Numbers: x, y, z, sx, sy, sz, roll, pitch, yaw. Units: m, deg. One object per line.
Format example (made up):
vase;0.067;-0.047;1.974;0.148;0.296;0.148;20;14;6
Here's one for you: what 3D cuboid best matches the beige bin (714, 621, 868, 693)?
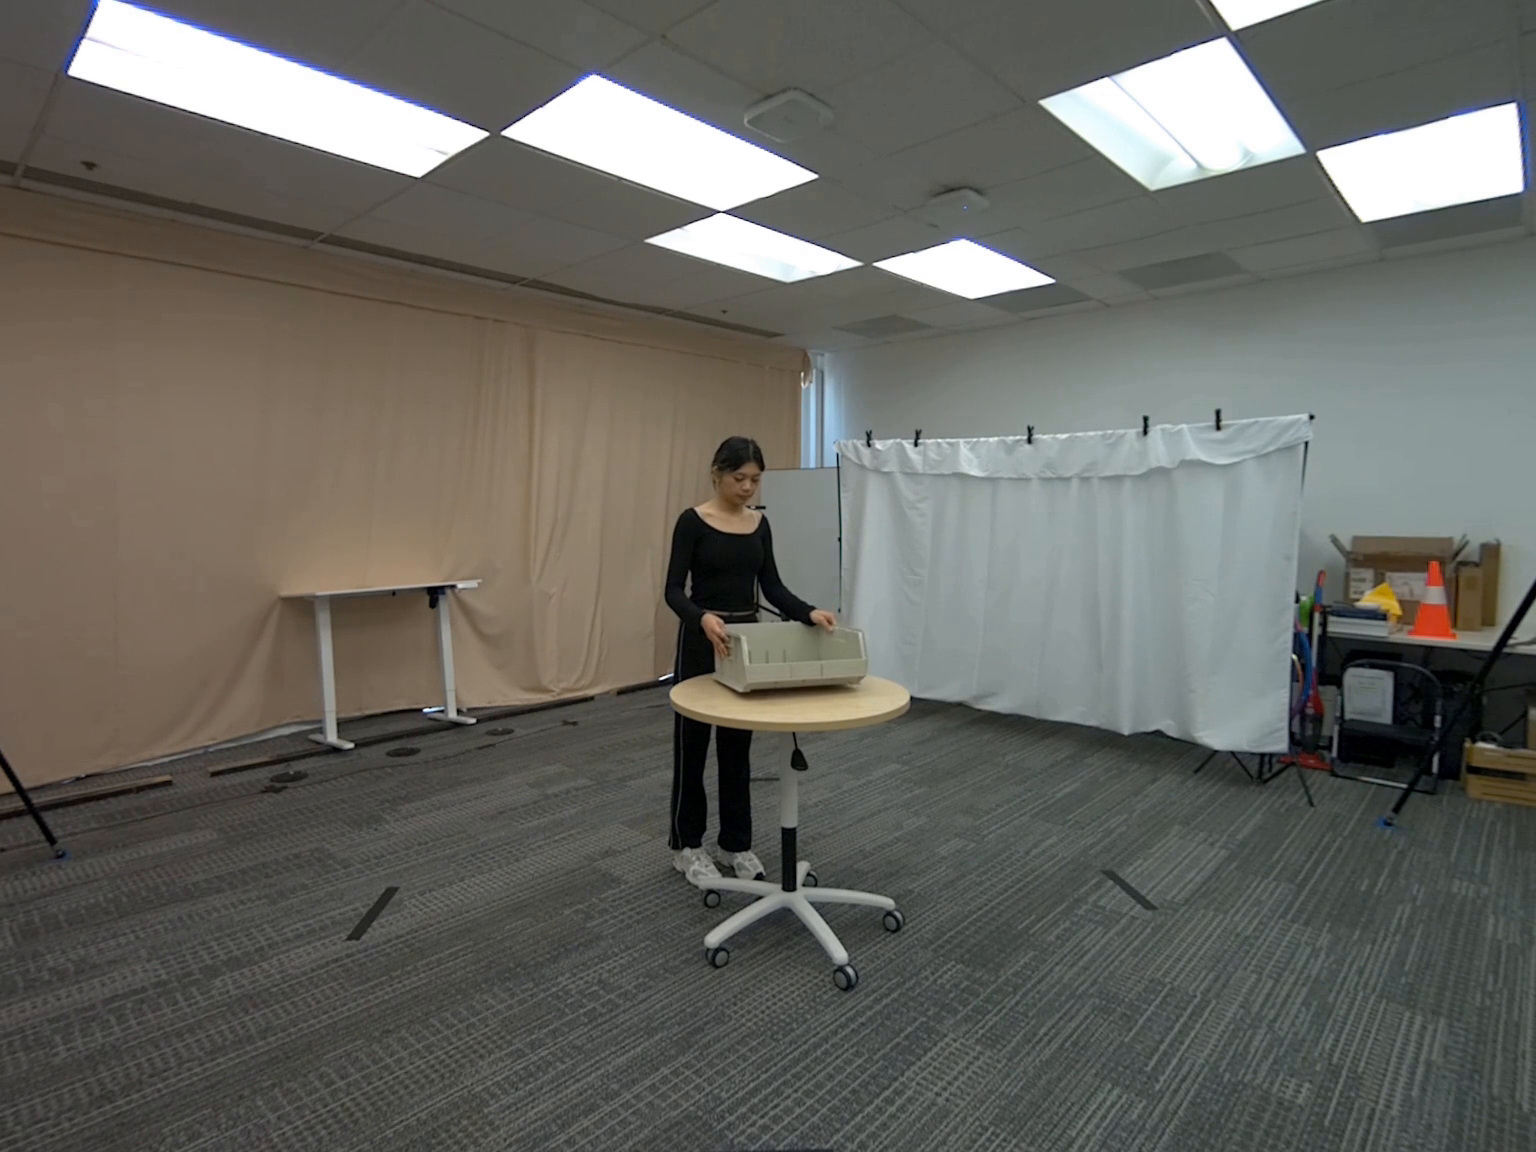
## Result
beige bin;0.067;0.263;2.778;0.414;0.189;0.385;-2;1;-19
